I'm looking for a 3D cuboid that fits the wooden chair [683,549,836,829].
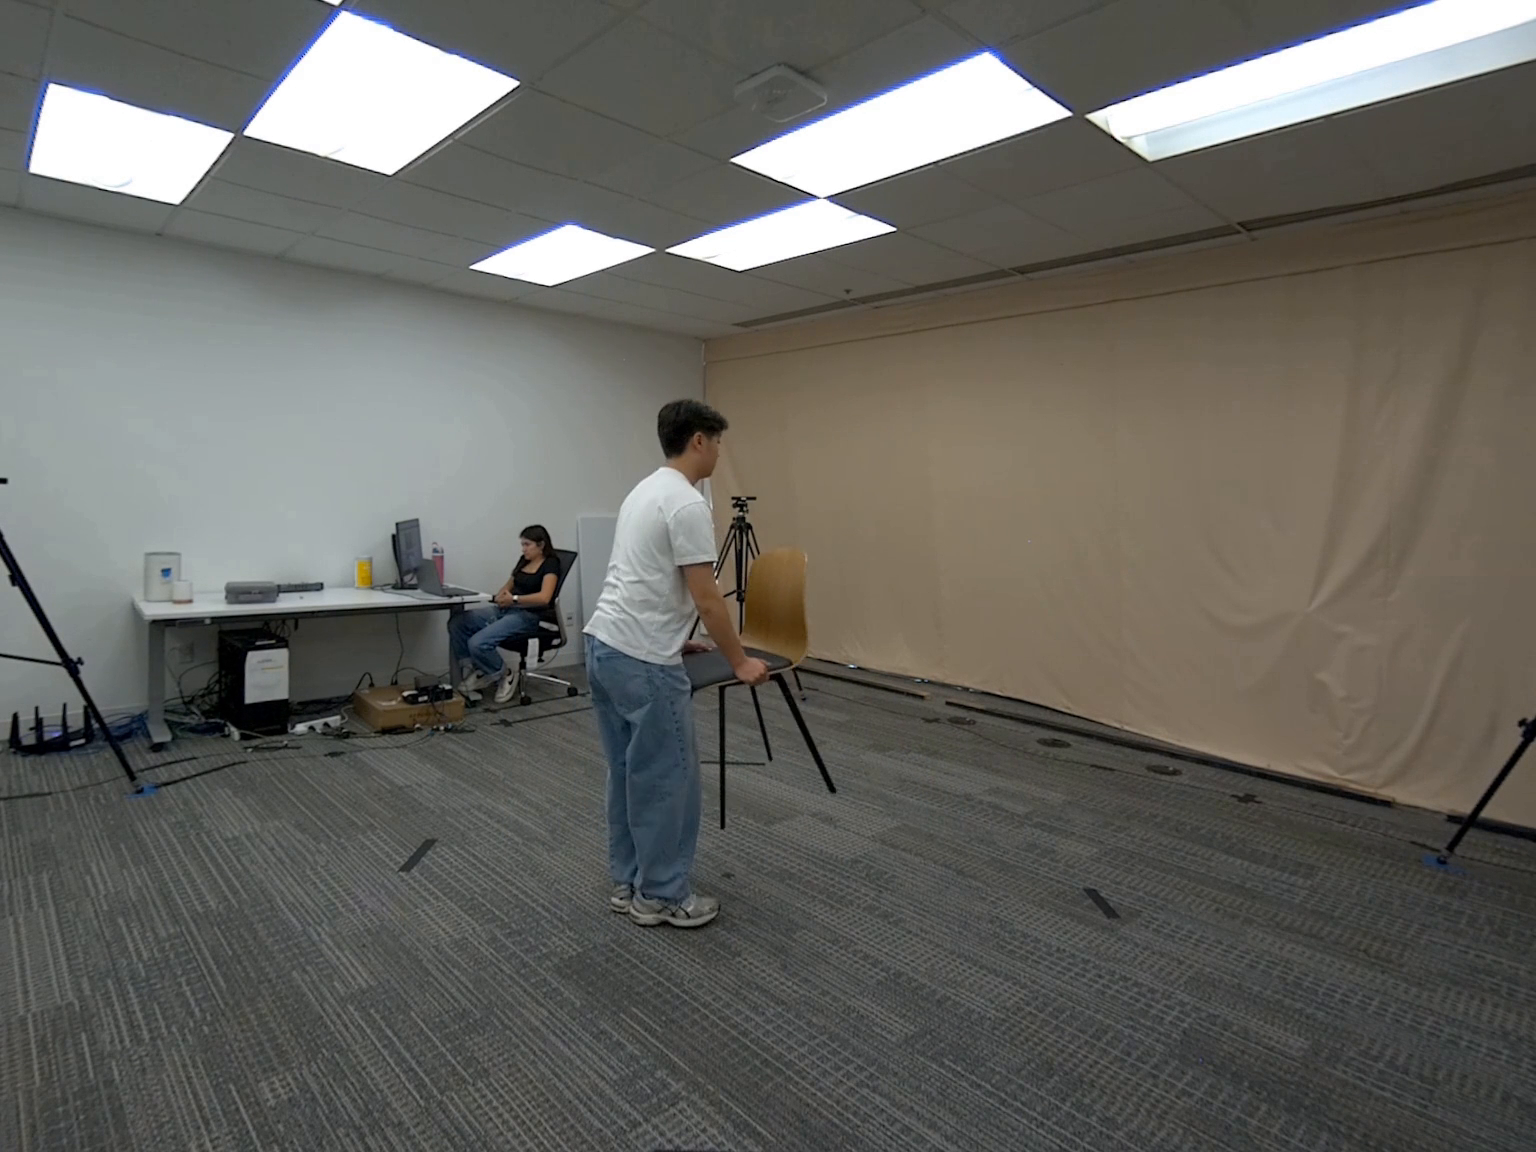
[{"bbox_3d":[-0.115,0.363,2.981,0.513,0.875,0.488,-4,4,-29],"label":"wooden chair"}]
